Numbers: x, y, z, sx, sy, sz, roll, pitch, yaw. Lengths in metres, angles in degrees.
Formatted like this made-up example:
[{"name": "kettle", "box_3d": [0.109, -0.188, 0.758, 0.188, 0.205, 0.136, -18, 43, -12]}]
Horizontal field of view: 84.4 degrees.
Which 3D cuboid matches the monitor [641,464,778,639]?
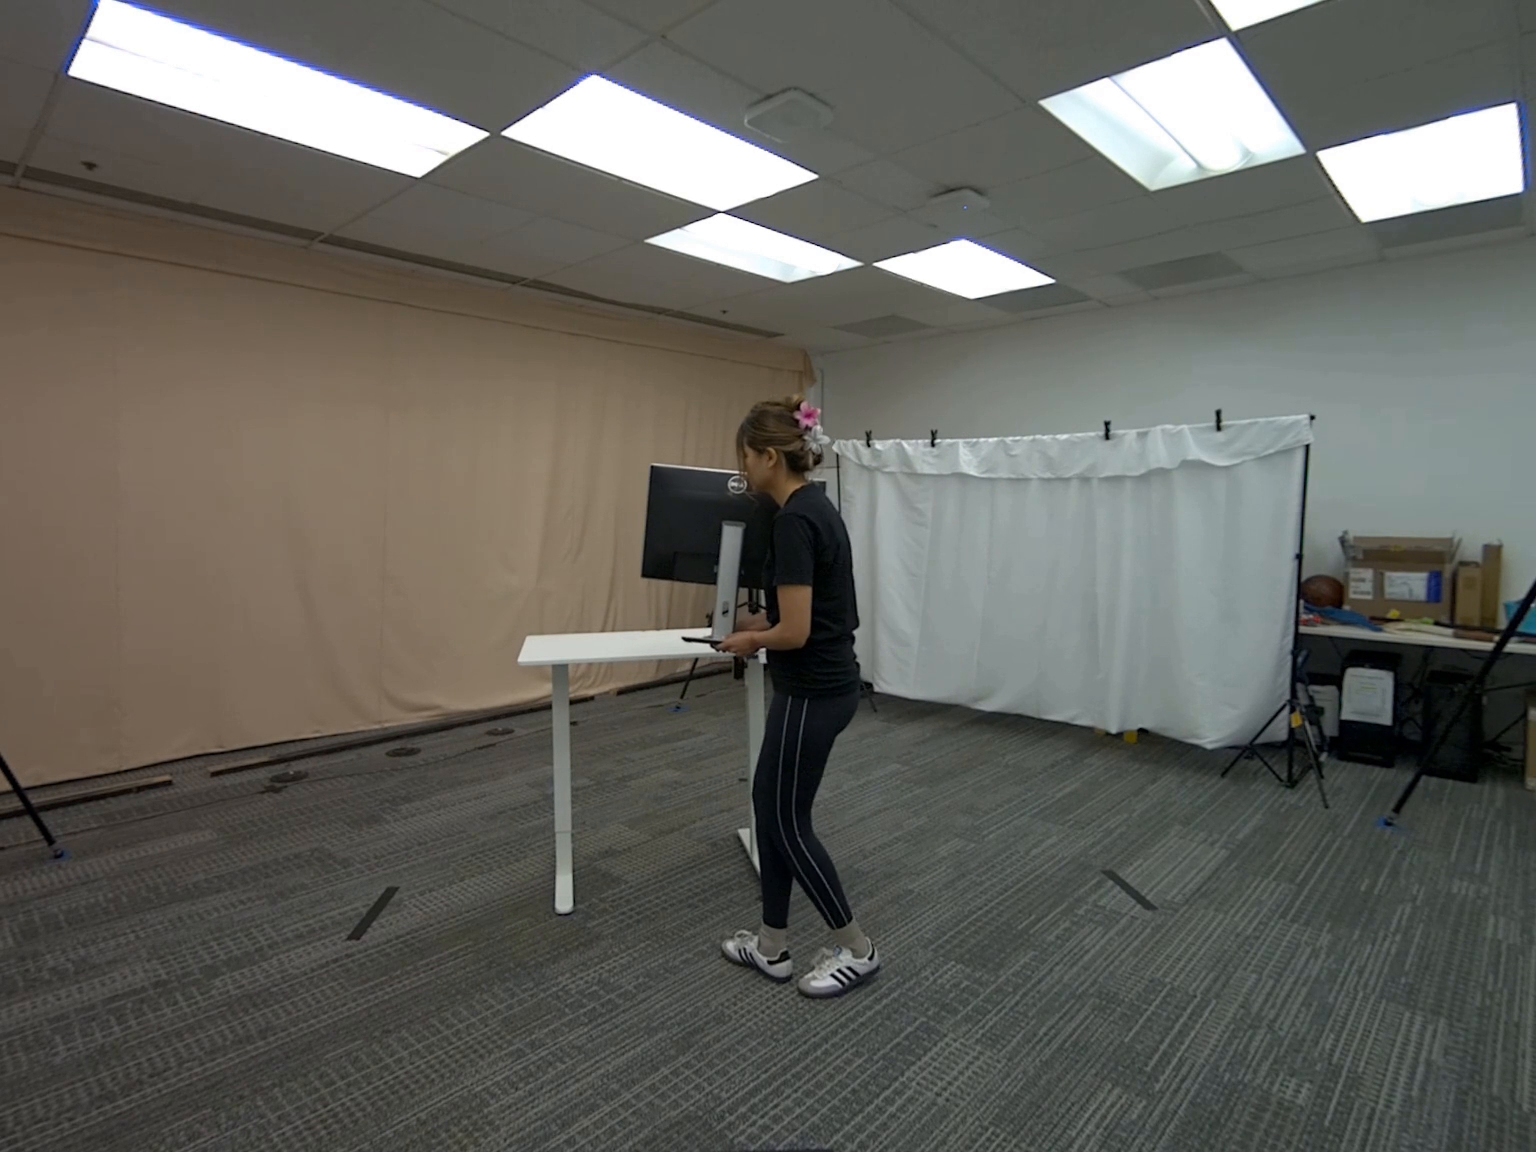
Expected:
[{"name": "monitor", "box_3d": [-0.126, -0.053, 2.588, 0.539, 0.524, 0.187, 6, -4, -1]}]
